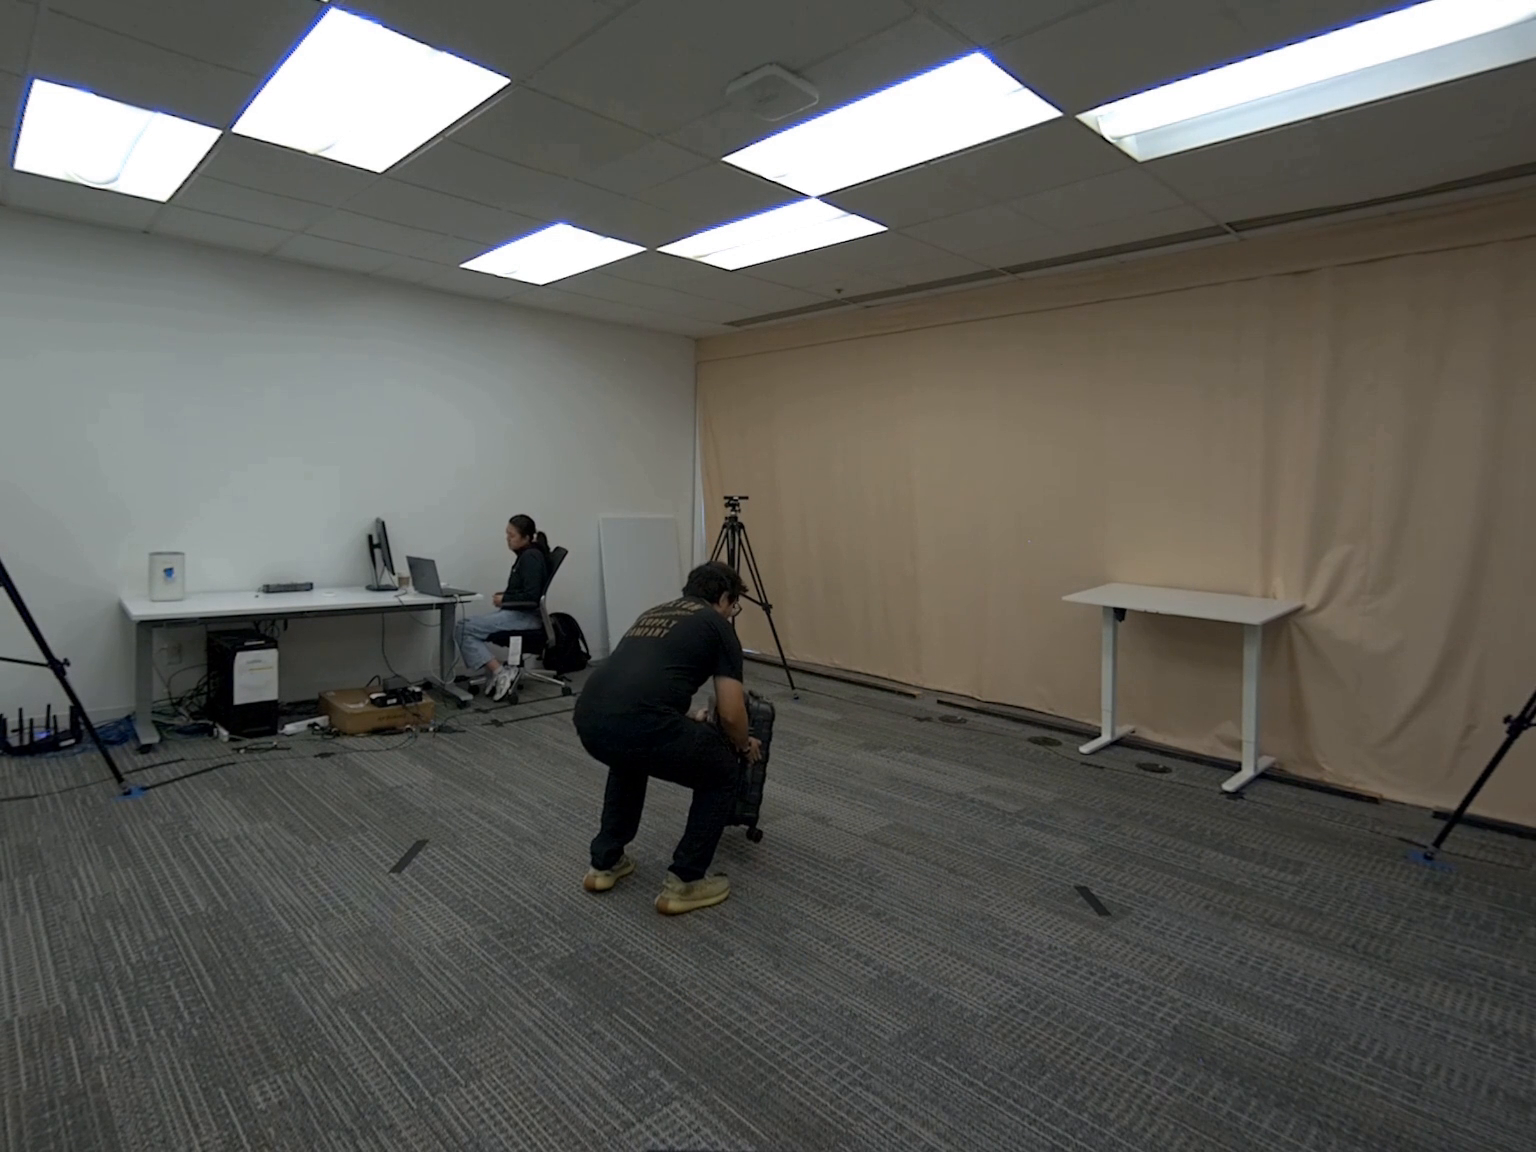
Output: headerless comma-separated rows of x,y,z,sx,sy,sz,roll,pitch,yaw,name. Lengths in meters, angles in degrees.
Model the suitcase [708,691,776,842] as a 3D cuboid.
-0.140,0.736,3.386,0.246,0.551,0.377,10,-4,-9,suitcase
